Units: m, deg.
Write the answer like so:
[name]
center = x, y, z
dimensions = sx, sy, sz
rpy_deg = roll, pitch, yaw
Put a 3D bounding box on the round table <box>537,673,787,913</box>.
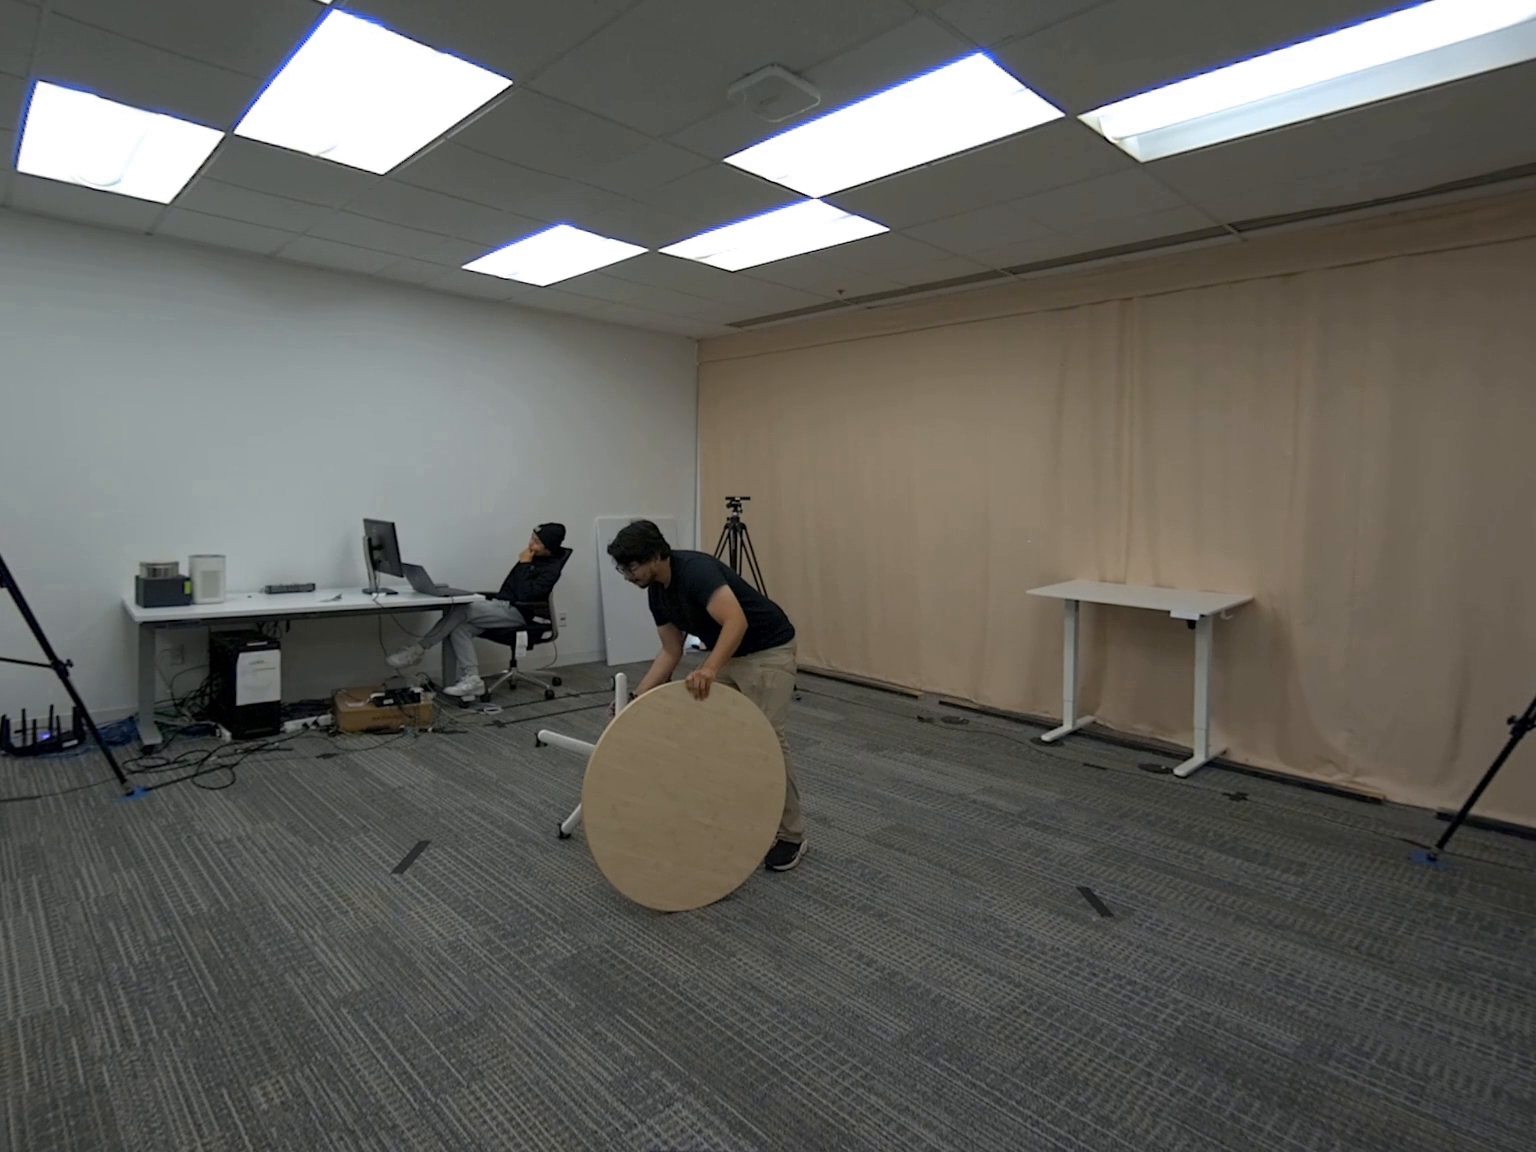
[round table]
center = -0.478, 0.755, 3.211
dimensions = 0.769, 0.787, 0.801
rpy_deg = -1, -2, -30
